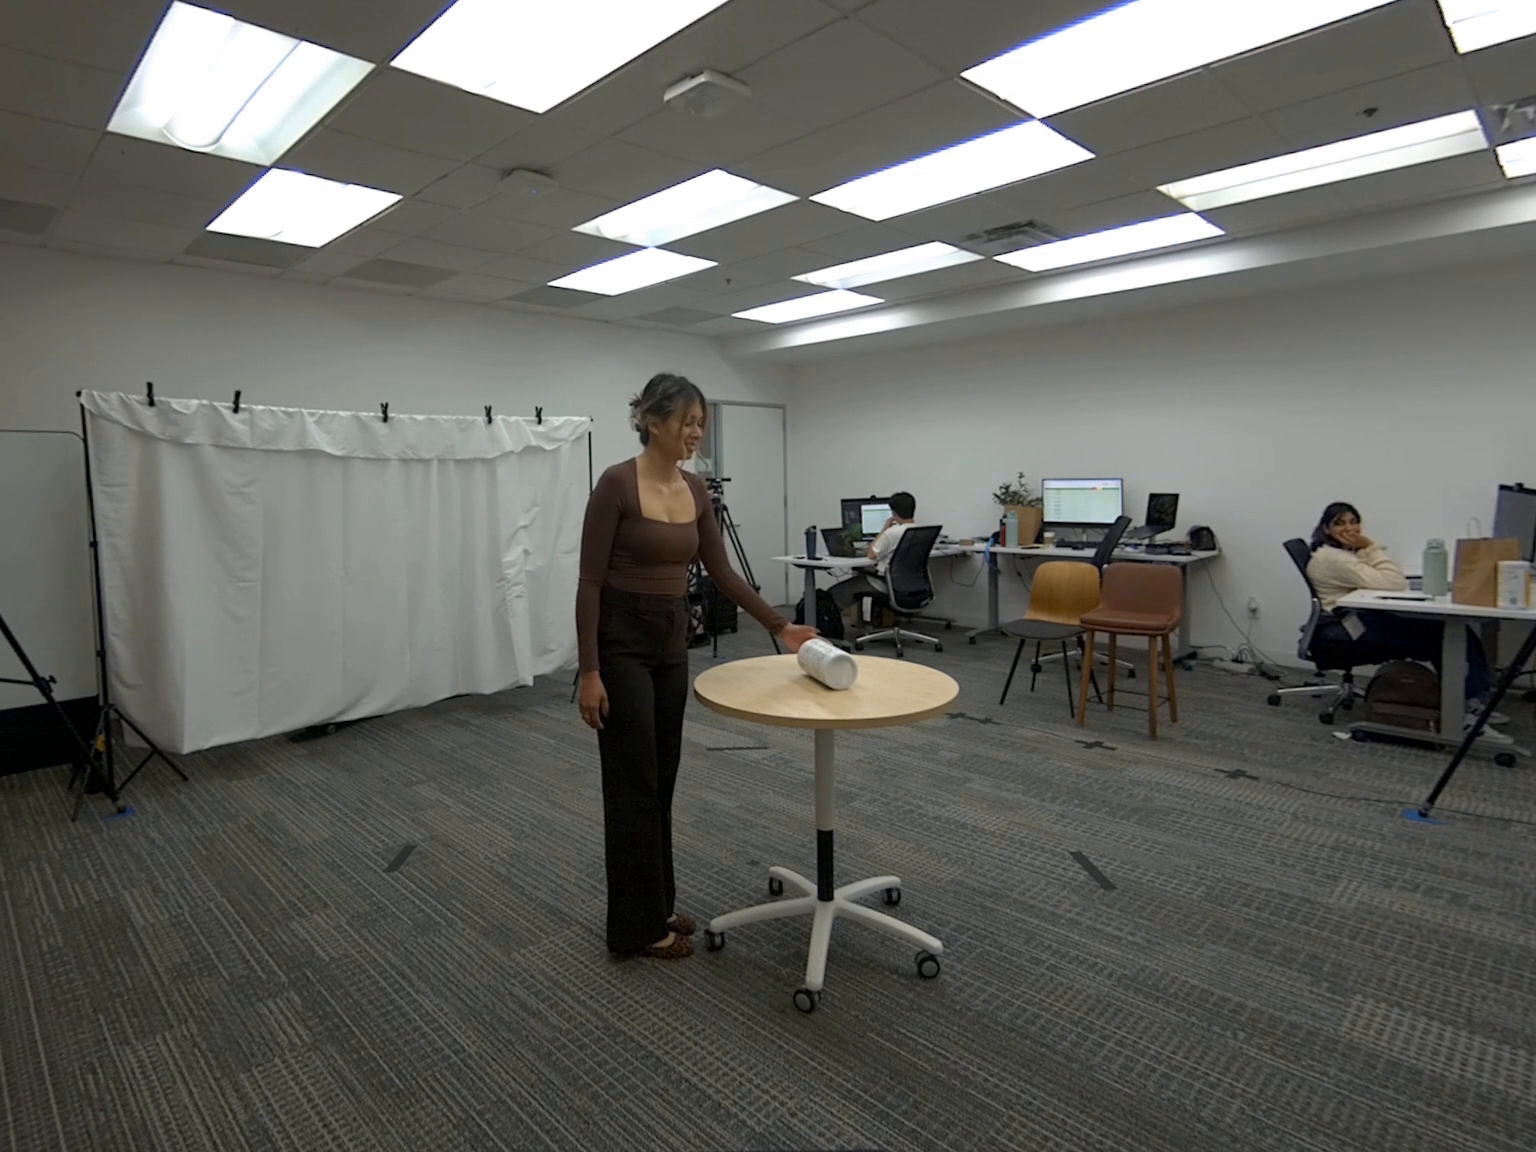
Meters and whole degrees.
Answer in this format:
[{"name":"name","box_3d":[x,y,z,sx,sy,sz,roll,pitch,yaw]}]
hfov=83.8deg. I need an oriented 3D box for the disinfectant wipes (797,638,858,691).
[{"name":"disinfectant wipes","box_3d":[0.169,0.255,2.501,0.116,0.117,0.222,-3,6,-18]}]
